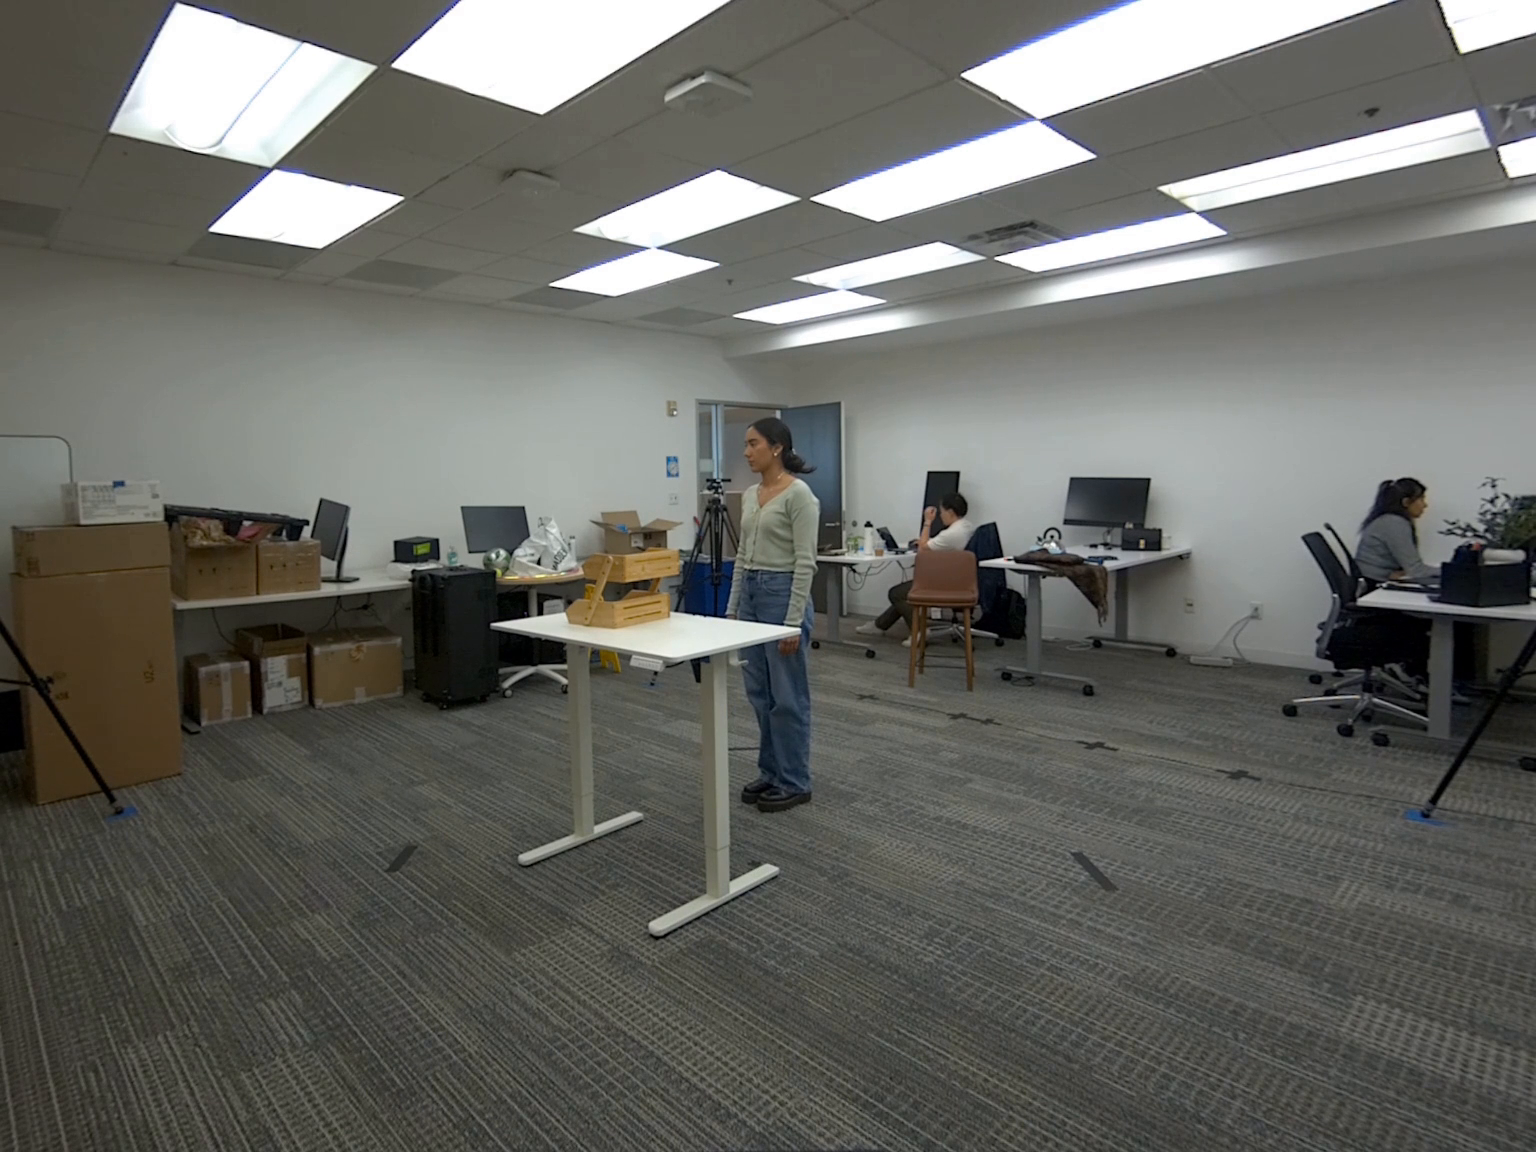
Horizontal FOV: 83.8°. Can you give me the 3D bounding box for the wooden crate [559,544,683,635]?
[{"bbox_3d":[-0.540,0.036,3.153,0.311,0.272,0.317,3,7,35],"label":"wooden crate"}]
